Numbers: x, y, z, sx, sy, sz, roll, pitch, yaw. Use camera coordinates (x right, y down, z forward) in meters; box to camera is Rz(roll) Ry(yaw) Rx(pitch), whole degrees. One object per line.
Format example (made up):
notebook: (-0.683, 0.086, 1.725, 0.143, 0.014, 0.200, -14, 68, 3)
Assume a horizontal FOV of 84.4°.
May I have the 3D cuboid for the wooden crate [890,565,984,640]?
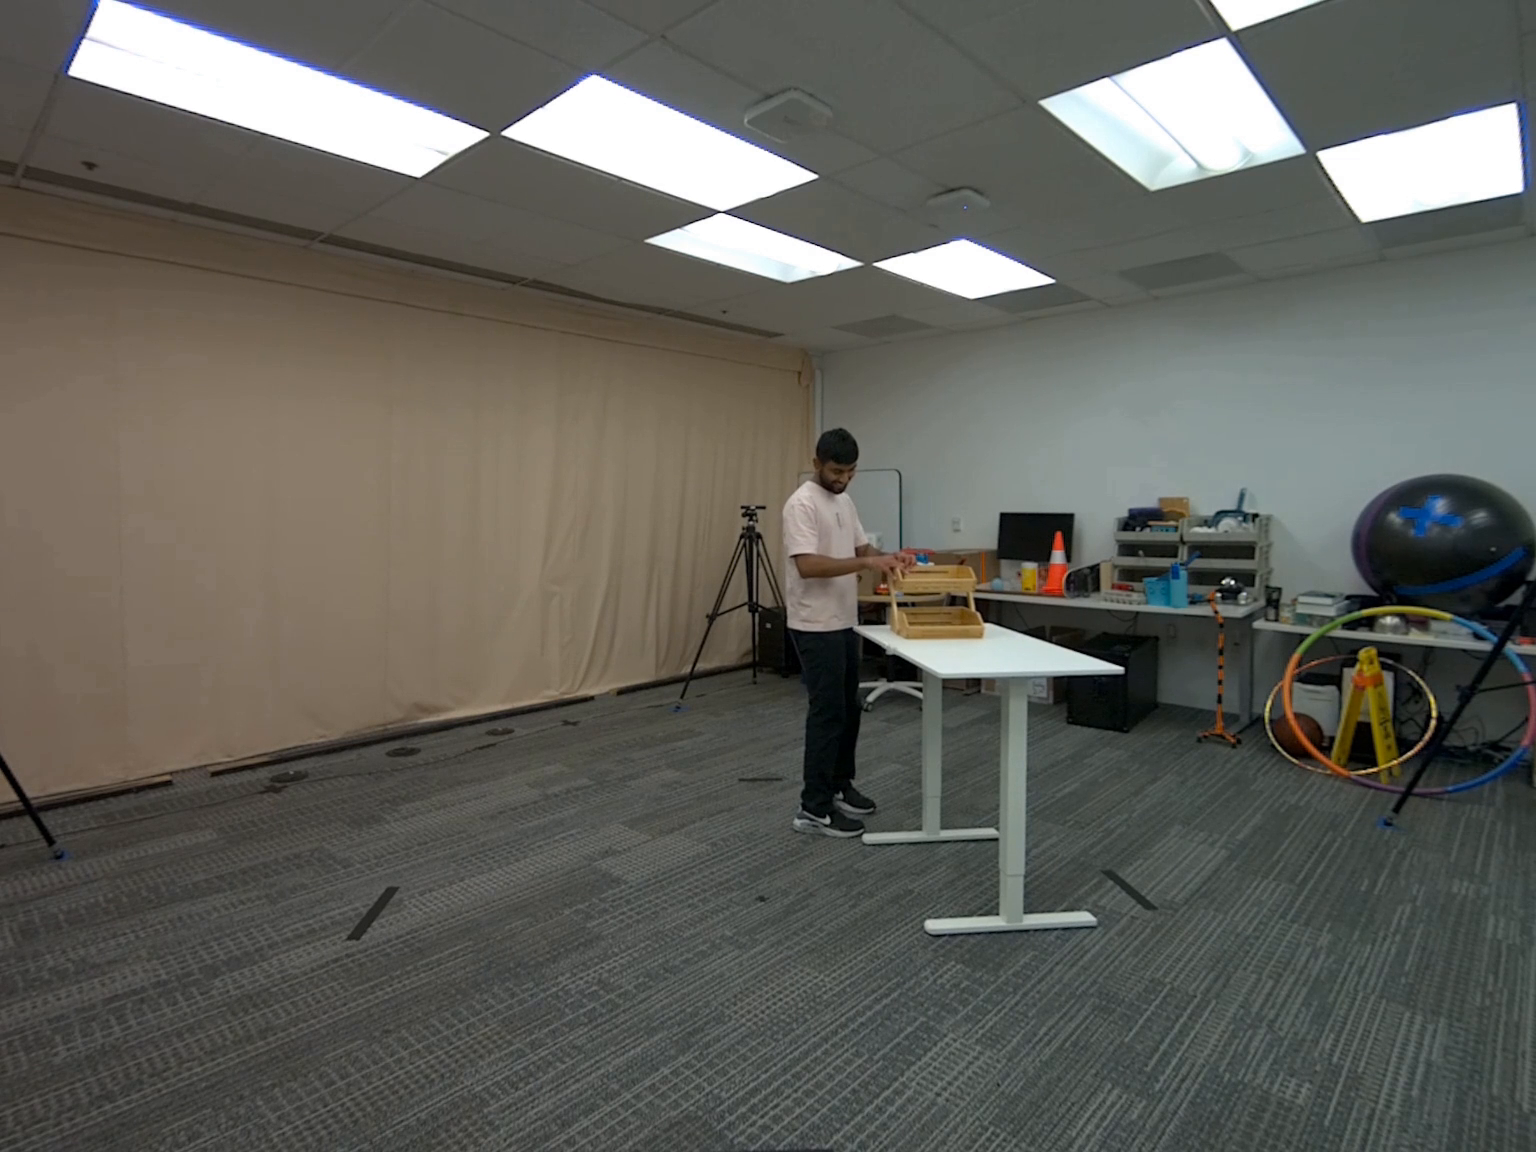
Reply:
wooden crate: (0.684, 0.099, 3.342, 0.322, 0.273, 0.305, 0, 2, -8)
